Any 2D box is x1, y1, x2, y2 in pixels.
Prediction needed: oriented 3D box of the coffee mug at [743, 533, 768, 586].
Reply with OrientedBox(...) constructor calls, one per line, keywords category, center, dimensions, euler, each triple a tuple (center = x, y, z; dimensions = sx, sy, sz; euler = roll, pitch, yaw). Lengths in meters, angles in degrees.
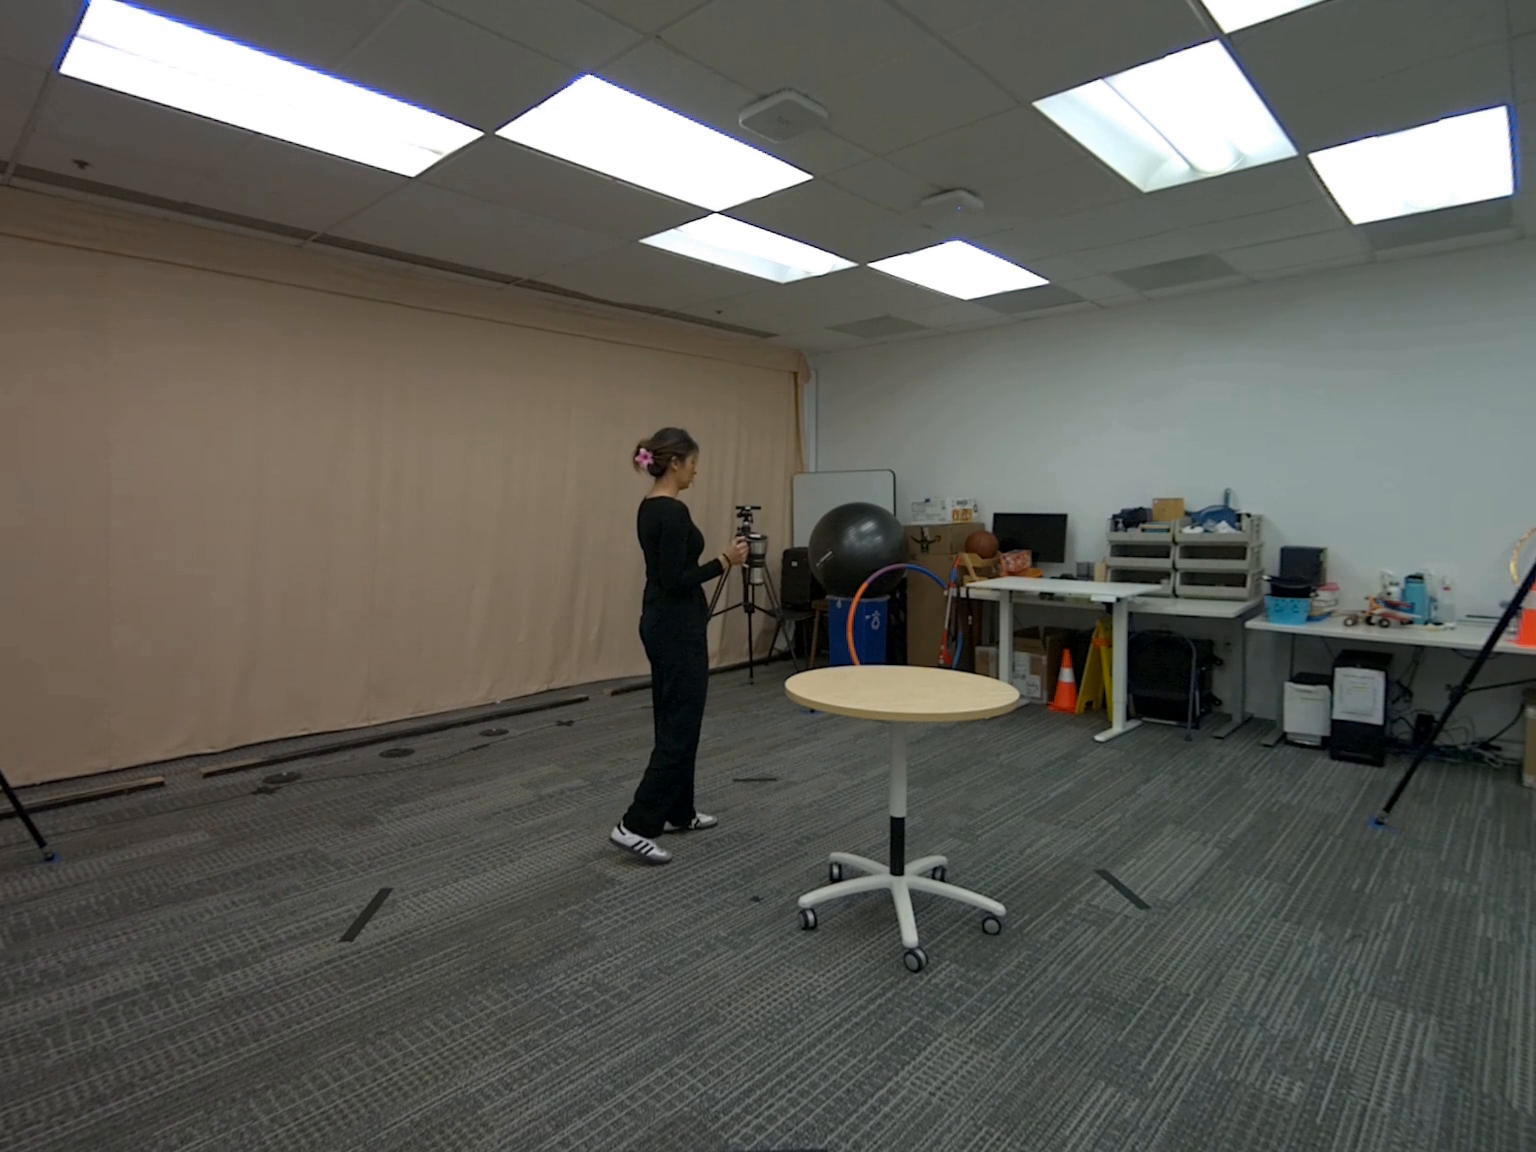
OrientedBox(category="coffee mug", center=(-0.071, -0.067, 3.398), dimensions=(0.124, 0.202, 0.087), euler=(9, 11, 14))
